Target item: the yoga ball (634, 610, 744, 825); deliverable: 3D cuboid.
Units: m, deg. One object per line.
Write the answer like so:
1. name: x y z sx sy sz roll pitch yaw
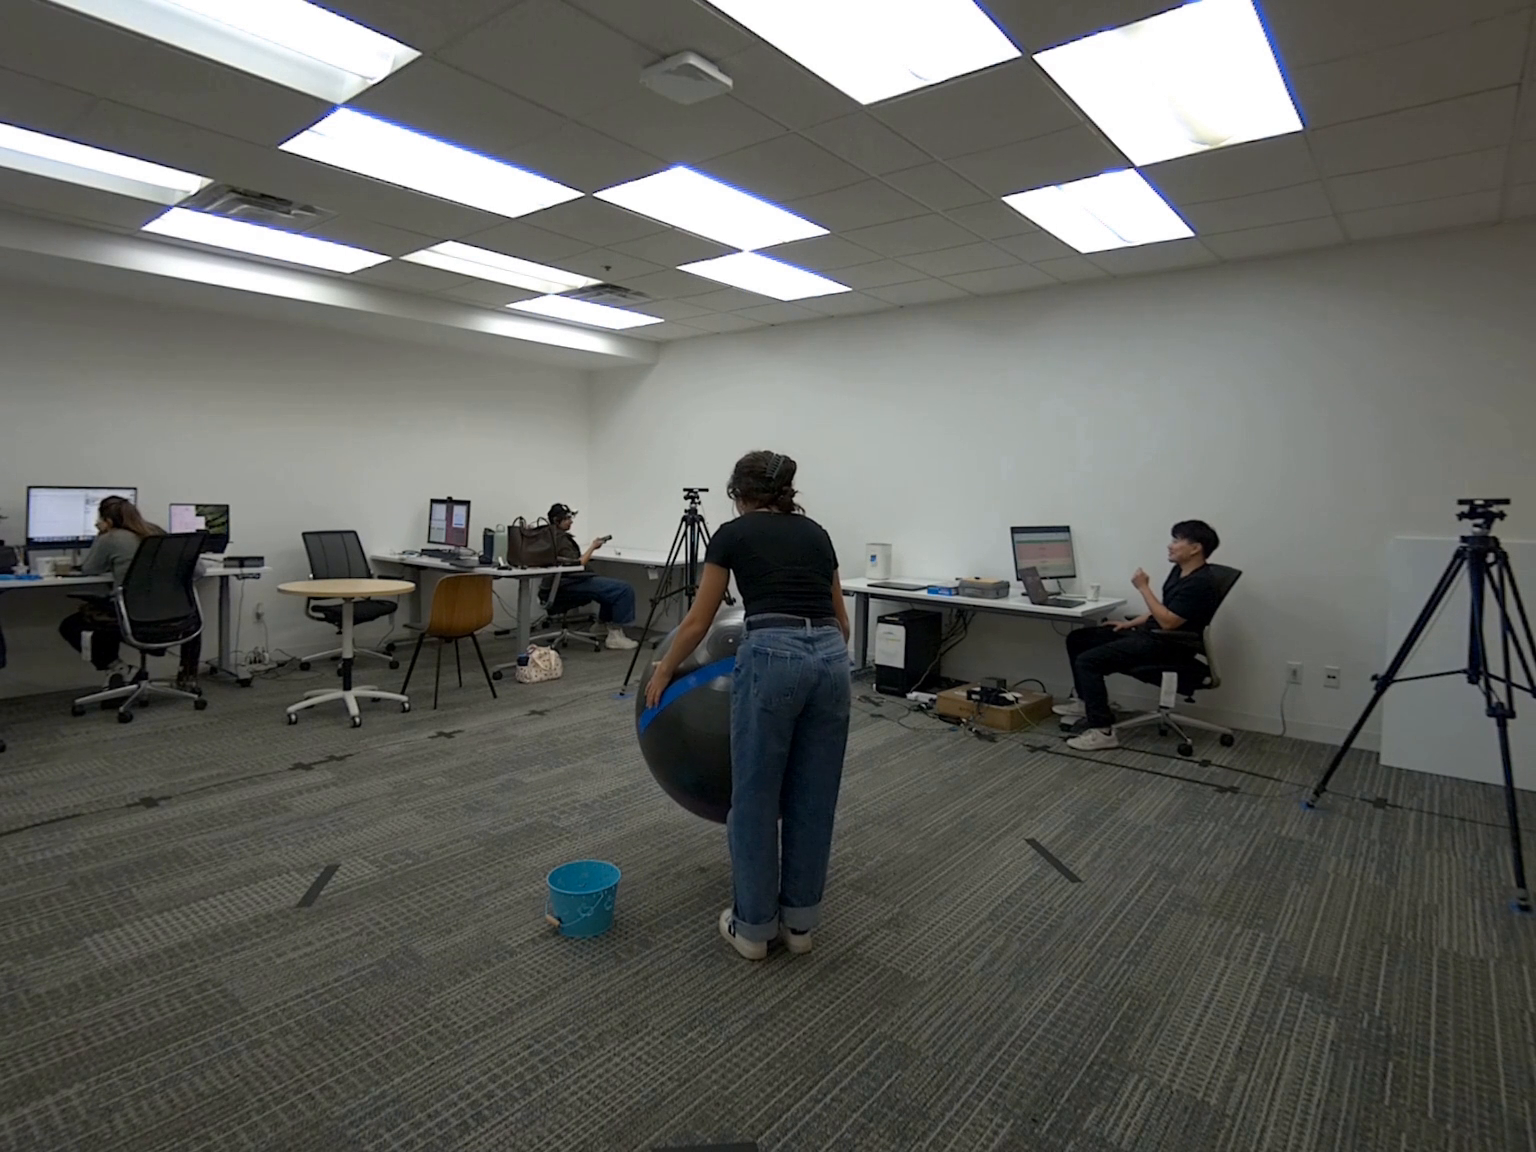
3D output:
1. yoga ball: -0.099 0.497 3.018 0.757 0.755 0.762 1 4 -2
